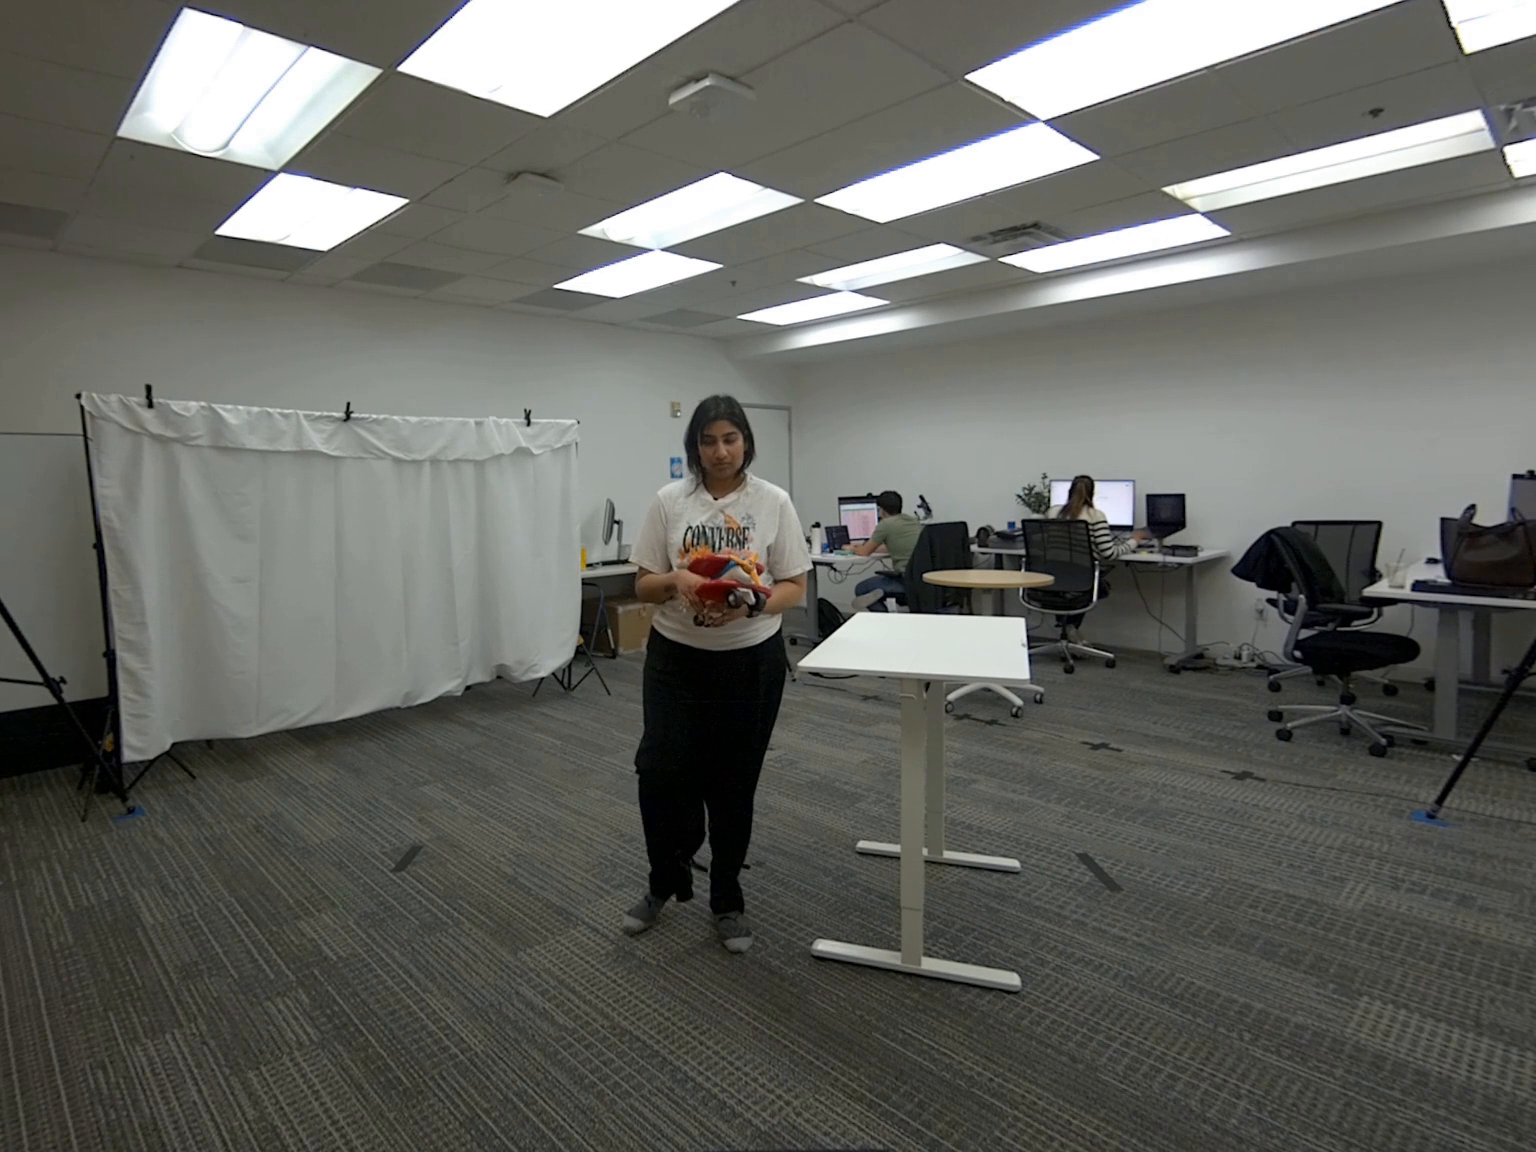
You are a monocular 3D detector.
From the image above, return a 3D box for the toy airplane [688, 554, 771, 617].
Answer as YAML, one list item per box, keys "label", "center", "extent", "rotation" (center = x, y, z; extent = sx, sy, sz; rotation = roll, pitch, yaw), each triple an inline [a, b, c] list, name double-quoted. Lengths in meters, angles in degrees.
- label: "toy airplane"
  center: [-0.138, 0.043, 2.351]
  extent: [0.262, 0.159, 0.243]
  rotation: [-14, -18, 16]
